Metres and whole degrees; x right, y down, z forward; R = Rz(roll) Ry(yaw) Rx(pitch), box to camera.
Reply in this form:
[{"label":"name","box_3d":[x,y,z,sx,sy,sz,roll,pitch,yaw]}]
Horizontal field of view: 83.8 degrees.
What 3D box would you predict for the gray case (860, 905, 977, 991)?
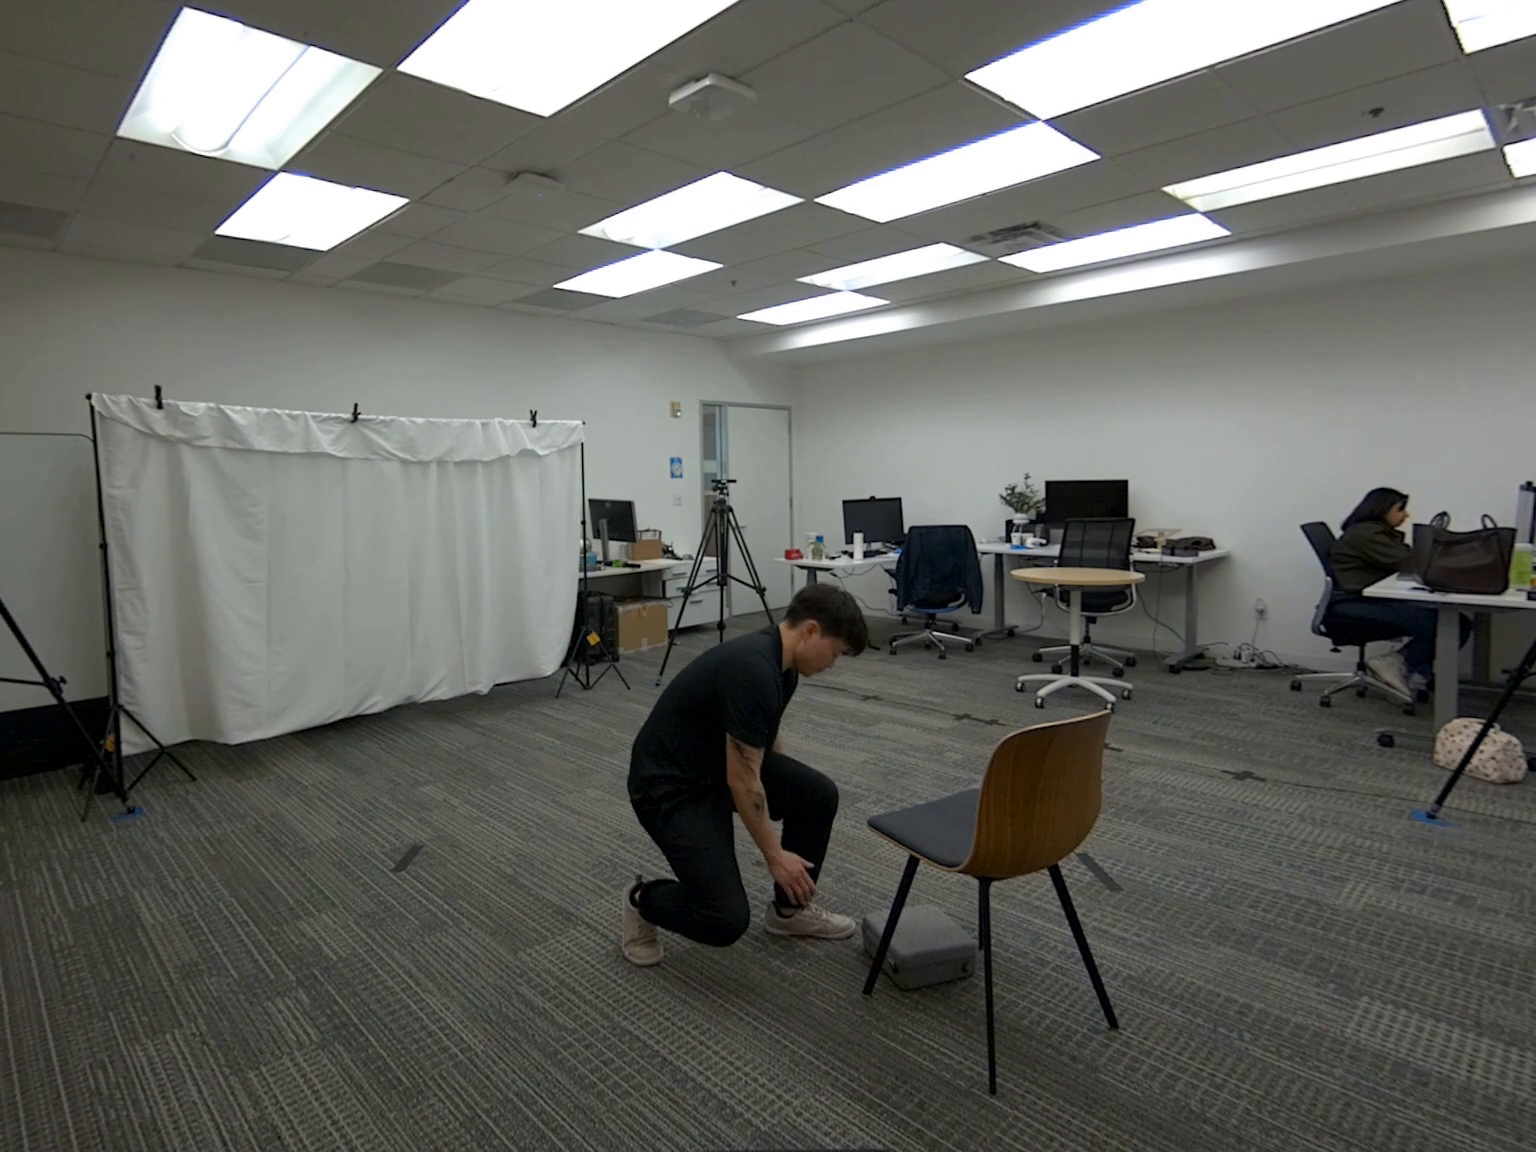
[{"label":"gray case","box_3d":[0.441,1.058,2.459,0.256,0.104,0.262,-1,4,-18]}]
